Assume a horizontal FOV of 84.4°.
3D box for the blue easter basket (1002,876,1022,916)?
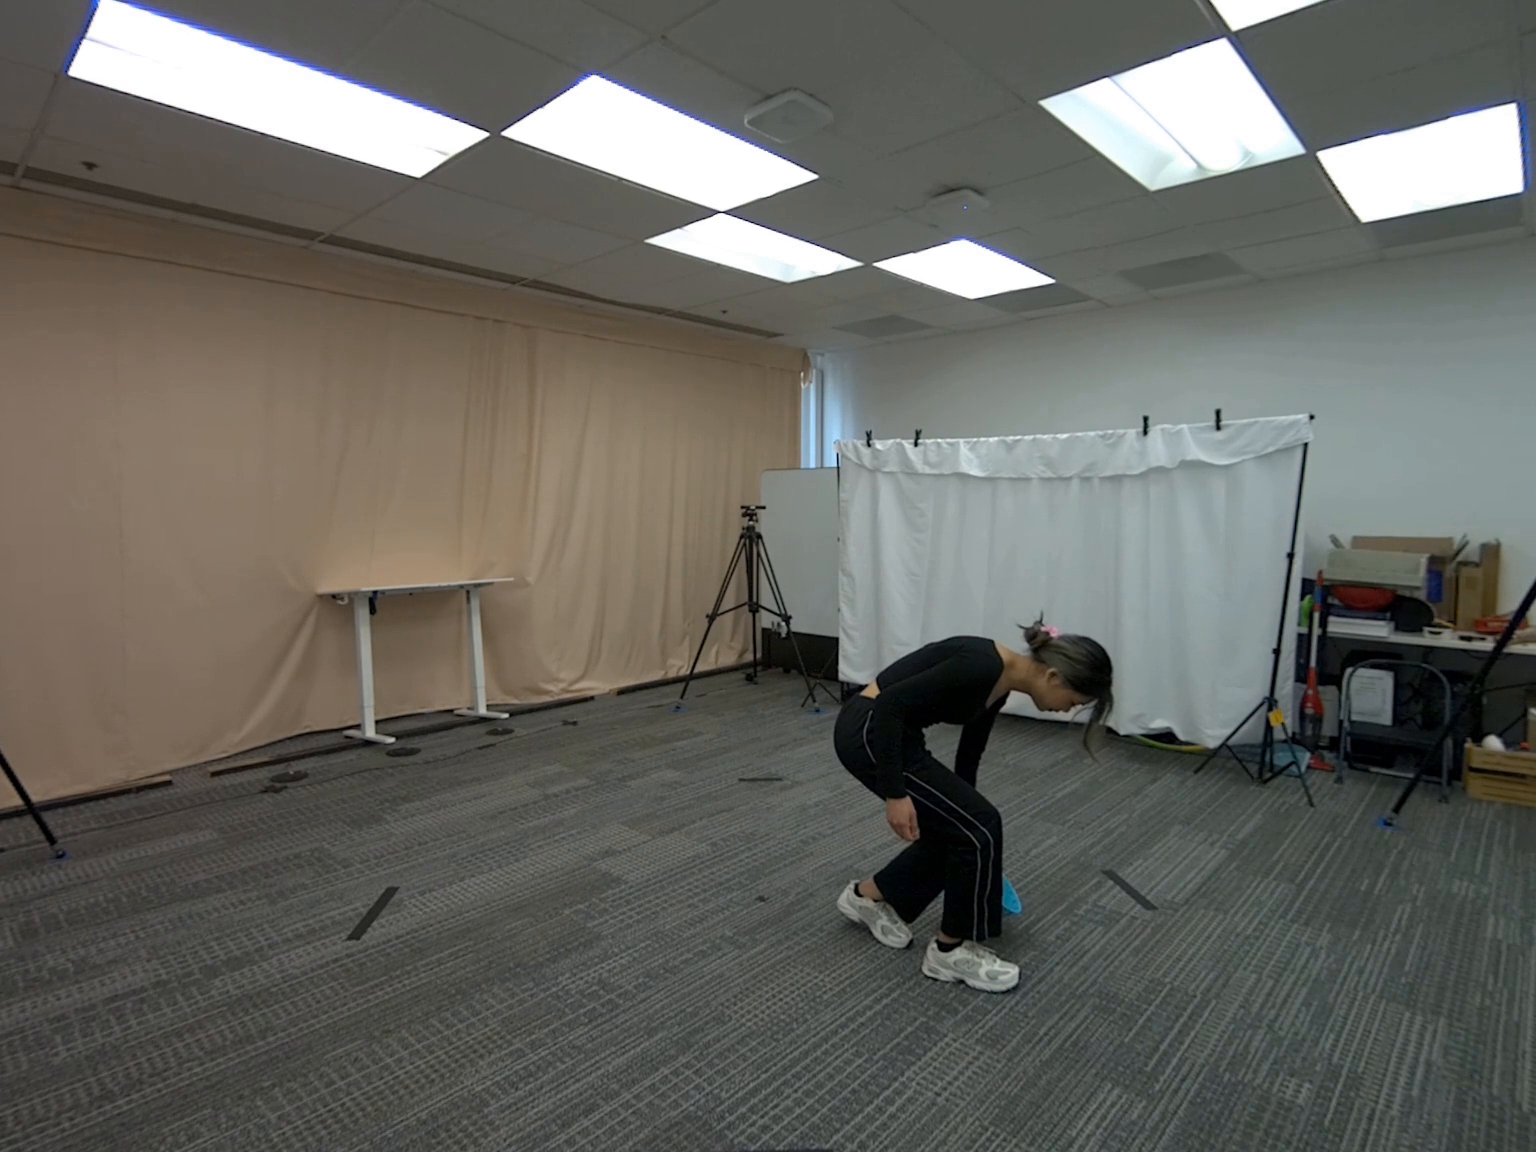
[{"bbox_3d":[0.713,1.047,2.761,0.239,0.156,0.247,39,16,-16],"label":"blue easter basket"}]
